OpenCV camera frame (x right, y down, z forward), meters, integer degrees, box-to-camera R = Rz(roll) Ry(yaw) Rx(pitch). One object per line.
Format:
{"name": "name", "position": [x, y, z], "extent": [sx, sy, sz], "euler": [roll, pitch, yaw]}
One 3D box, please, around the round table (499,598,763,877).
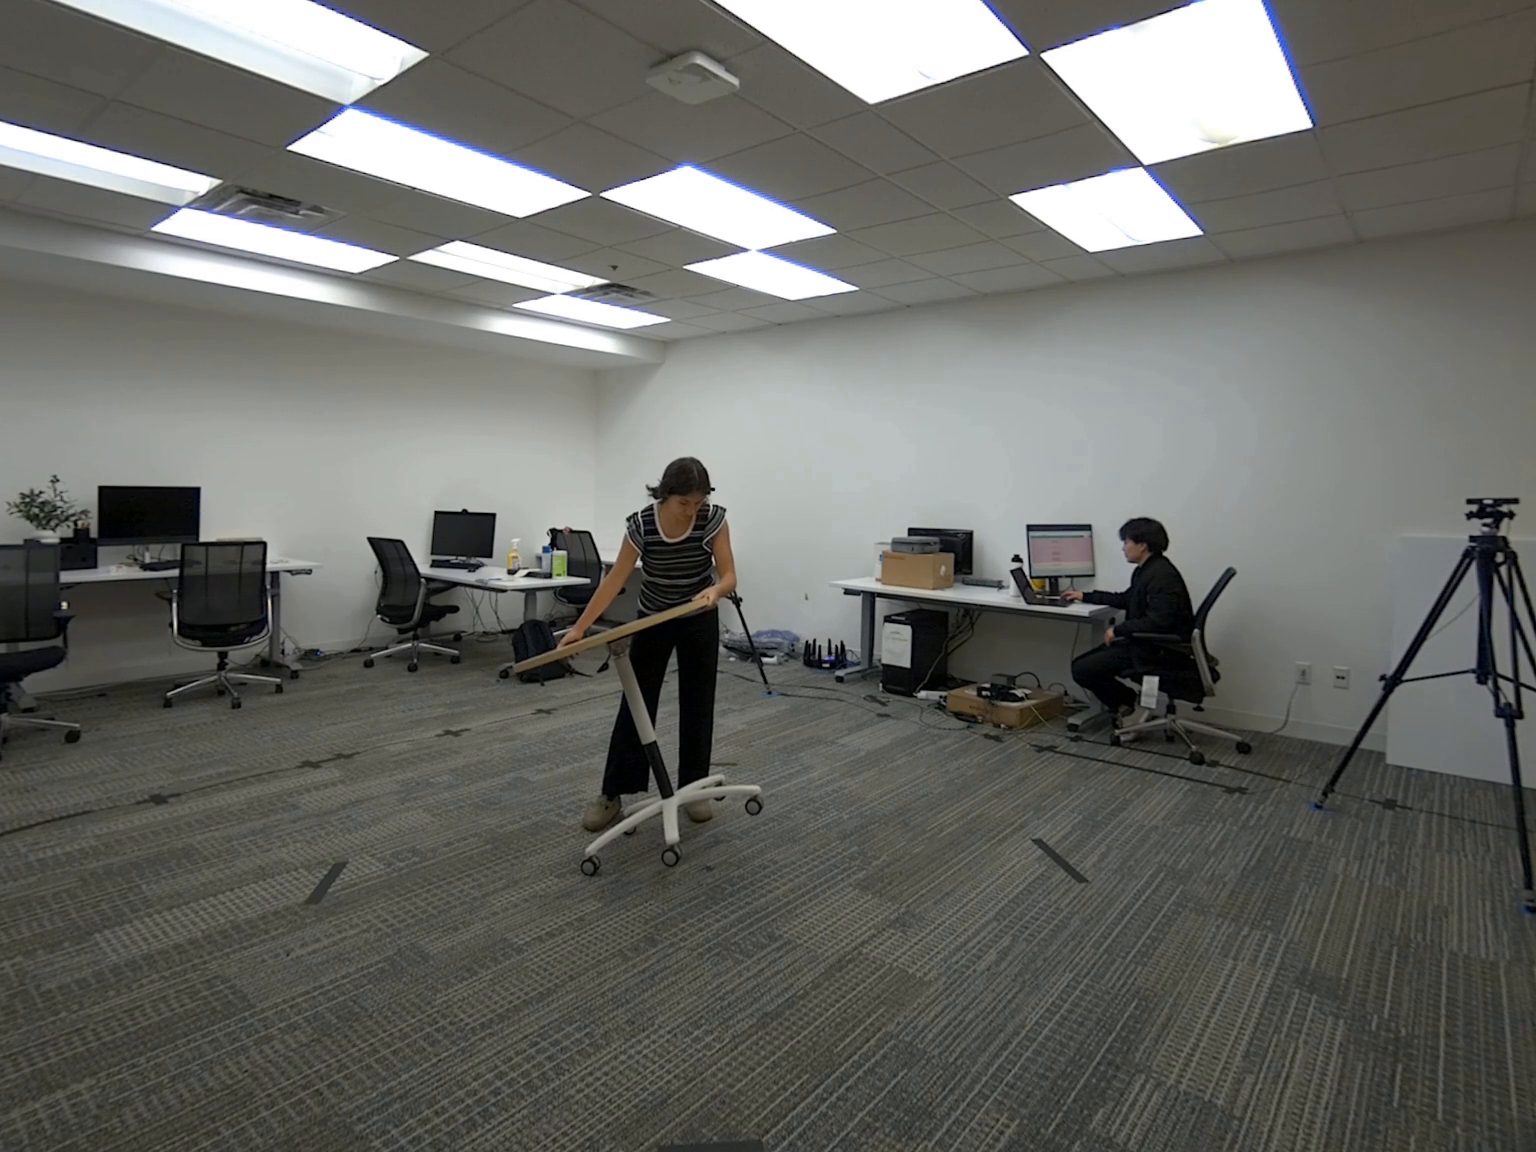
{"name": "round table", "position": [-0.451, 0.575, 3.187], "extent": [0.784, 0.788, 0.785], "euler": [-19, 0, -2]}
